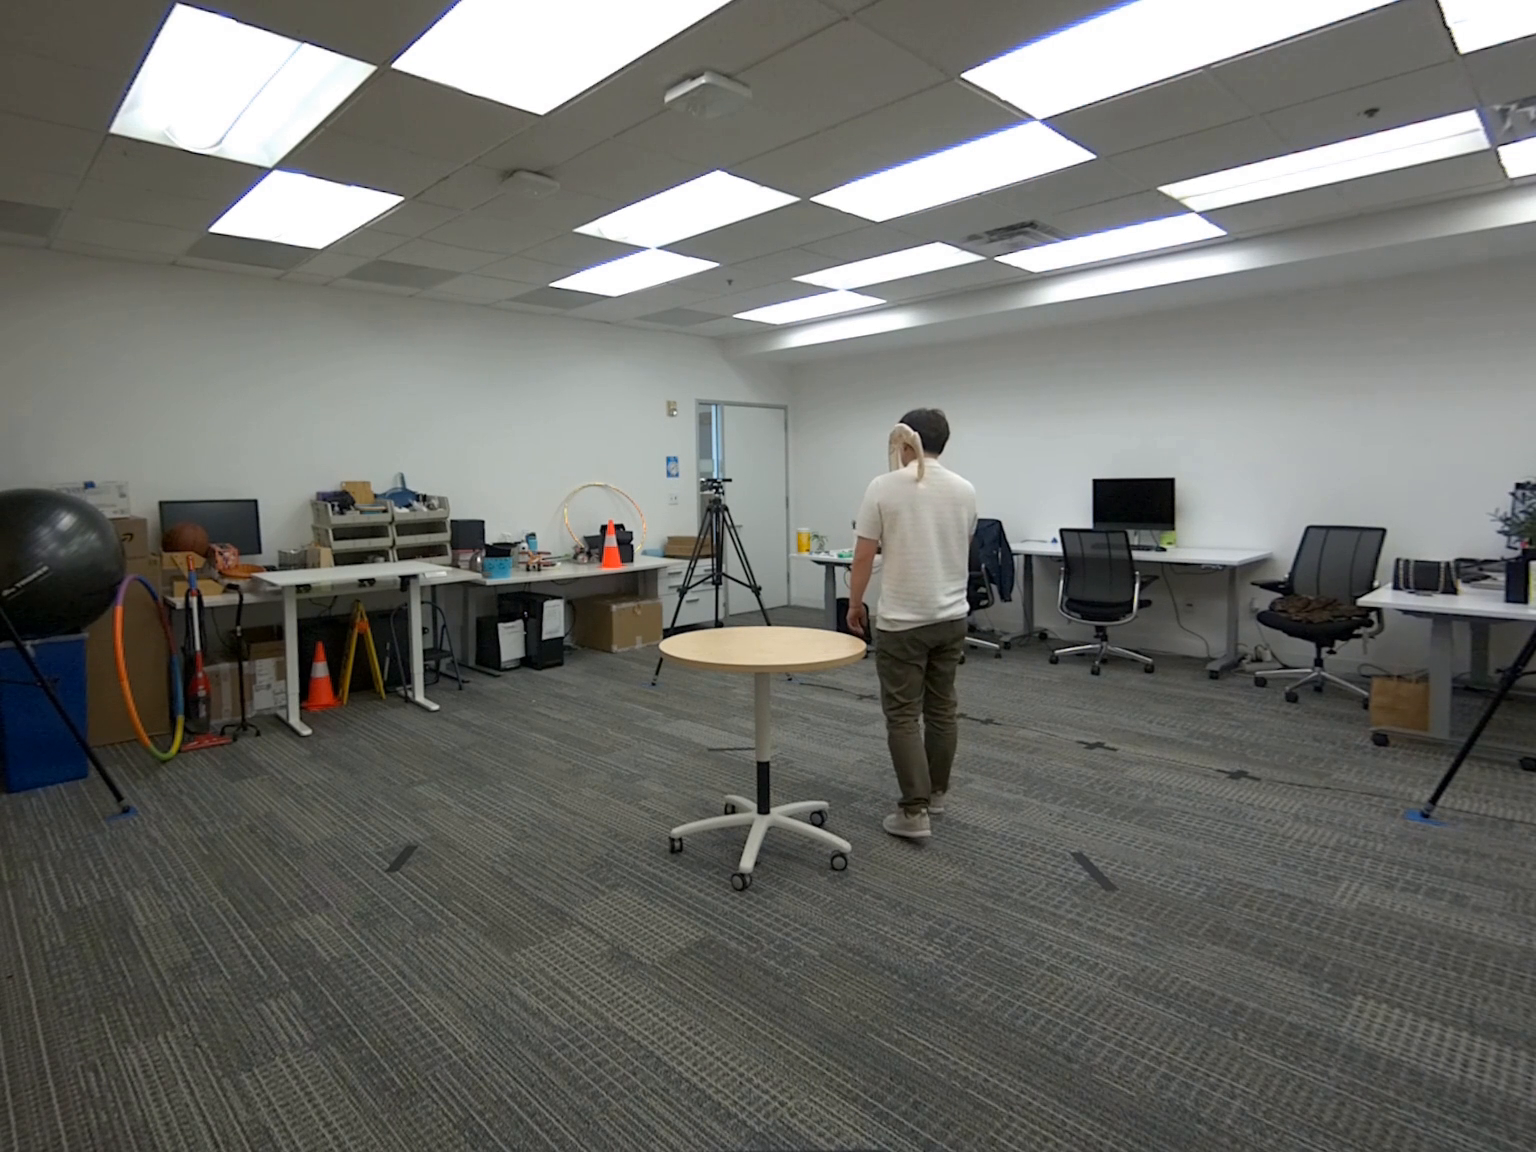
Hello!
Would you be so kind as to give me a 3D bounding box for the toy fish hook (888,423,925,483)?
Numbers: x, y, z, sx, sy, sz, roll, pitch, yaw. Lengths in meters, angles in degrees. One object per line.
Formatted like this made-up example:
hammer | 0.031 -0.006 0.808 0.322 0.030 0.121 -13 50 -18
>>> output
toy fish hook | 0.552 -0.374 3.458 0.048 0.493 0.233 -13 38 -14
